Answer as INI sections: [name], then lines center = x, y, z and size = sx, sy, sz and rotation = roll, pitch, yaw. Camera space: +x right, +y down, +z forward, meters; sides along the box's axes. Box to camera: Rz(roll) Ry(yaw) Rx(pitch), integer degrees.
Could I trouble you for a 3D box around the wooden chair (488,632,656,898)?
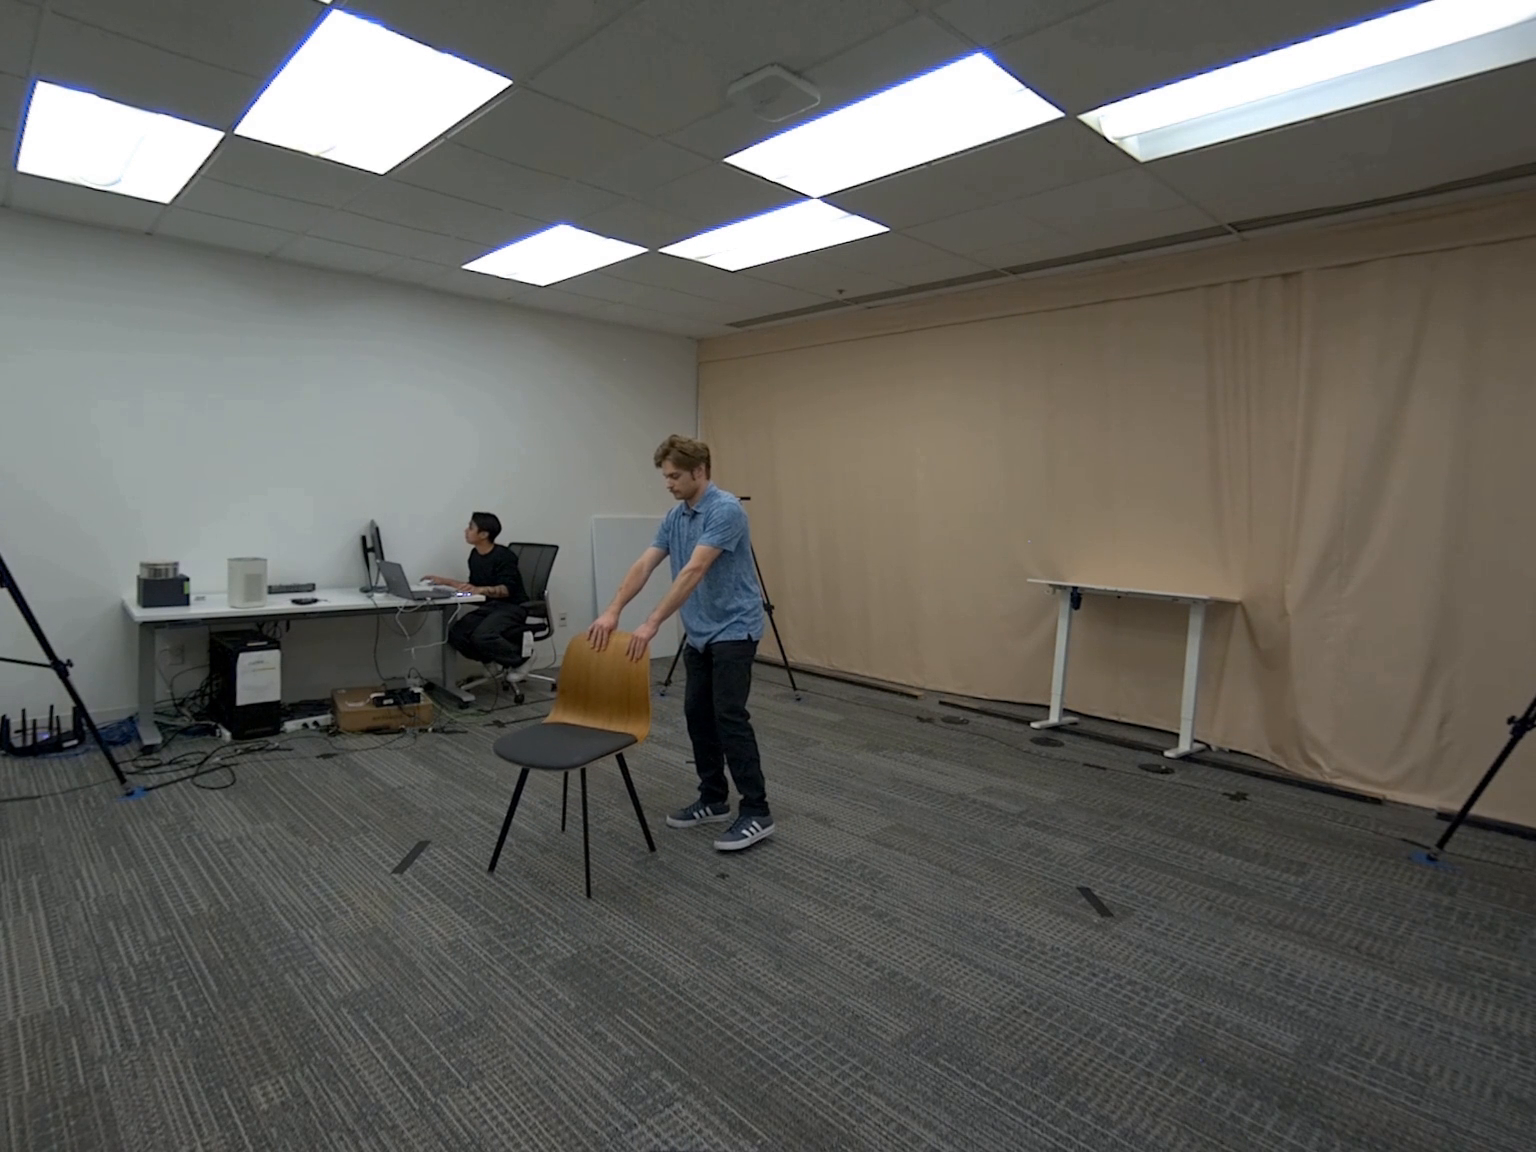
[wooden chair]
center = -0.730, 0.661, 3.158
size = 0.487, 0.878, 0.513
rotation = 3, -1, 25
